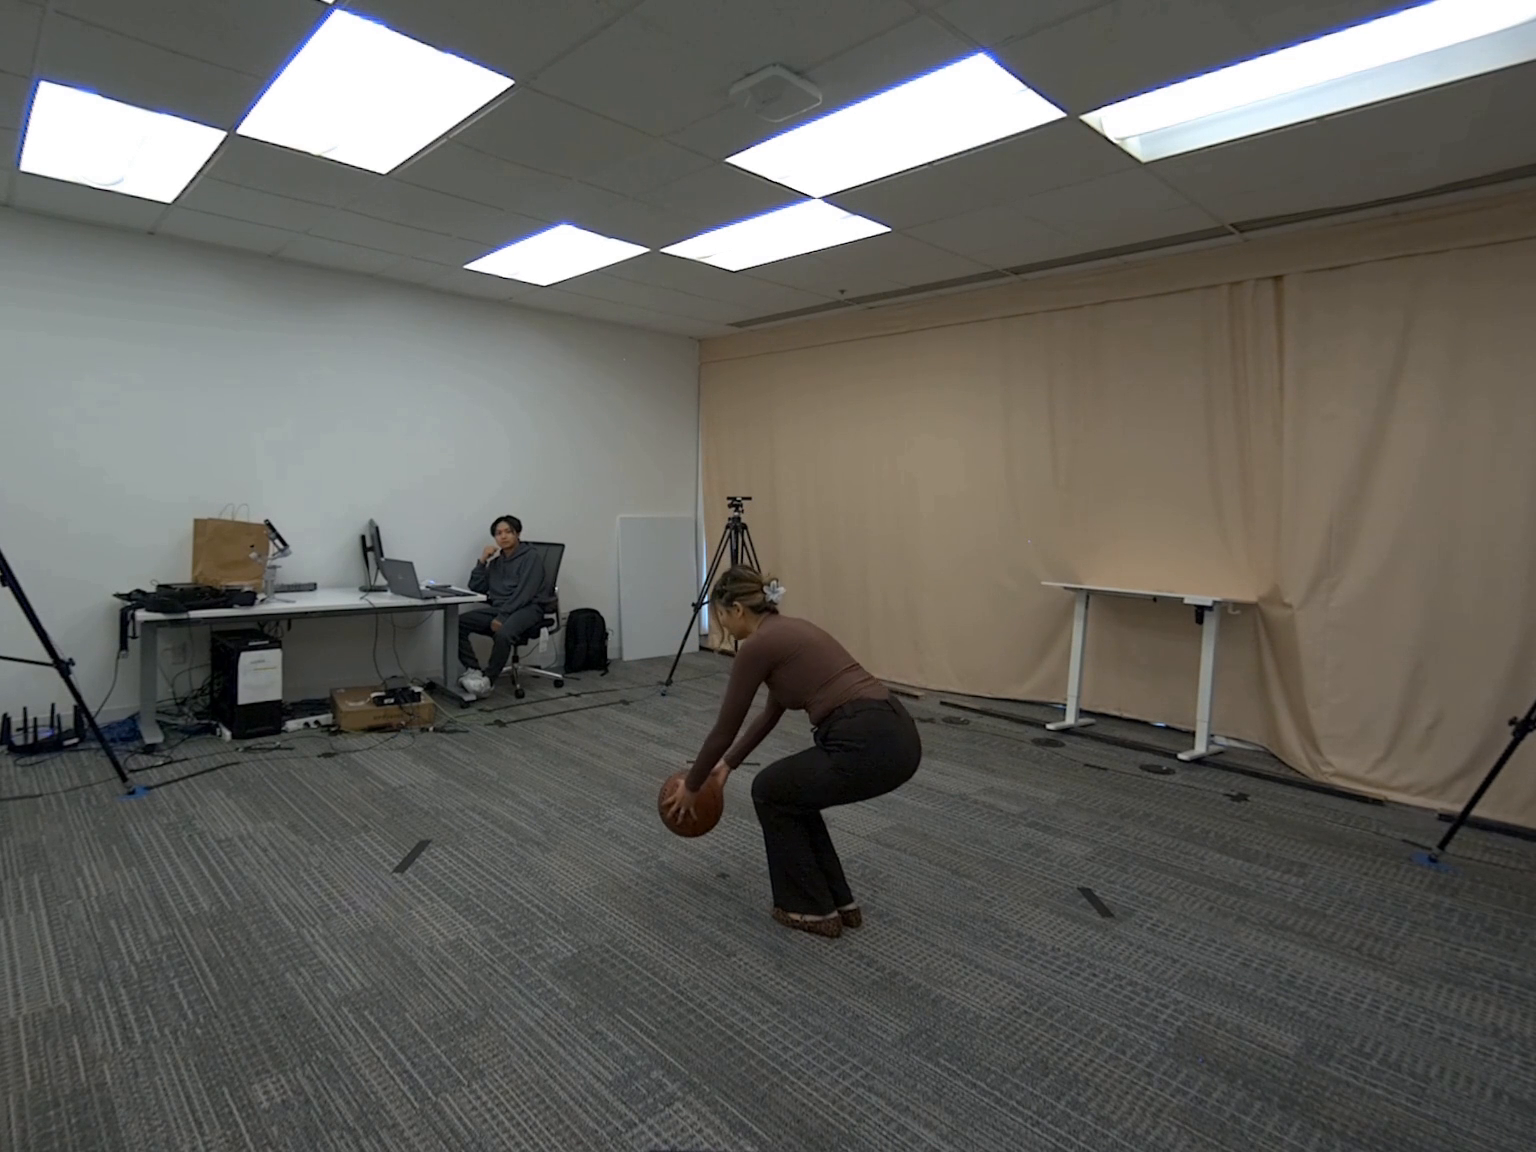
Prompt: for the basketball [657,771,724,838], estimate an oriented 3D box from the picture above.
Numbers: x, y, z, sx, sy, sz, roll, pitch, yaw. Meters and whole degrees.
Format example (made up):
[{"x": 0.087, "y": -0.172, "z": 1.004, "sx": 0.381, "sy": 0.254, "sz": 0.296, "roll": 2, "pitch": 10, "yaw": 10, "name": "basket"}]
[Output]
[{"x": -0.285, "y": 0.802, "z": 3.033, "sx": 0.236, "sy": 0.235, "sz": 0.237, "roll": 1, "pitch": 4, "yaw": -1, "name": "basketball"}]
